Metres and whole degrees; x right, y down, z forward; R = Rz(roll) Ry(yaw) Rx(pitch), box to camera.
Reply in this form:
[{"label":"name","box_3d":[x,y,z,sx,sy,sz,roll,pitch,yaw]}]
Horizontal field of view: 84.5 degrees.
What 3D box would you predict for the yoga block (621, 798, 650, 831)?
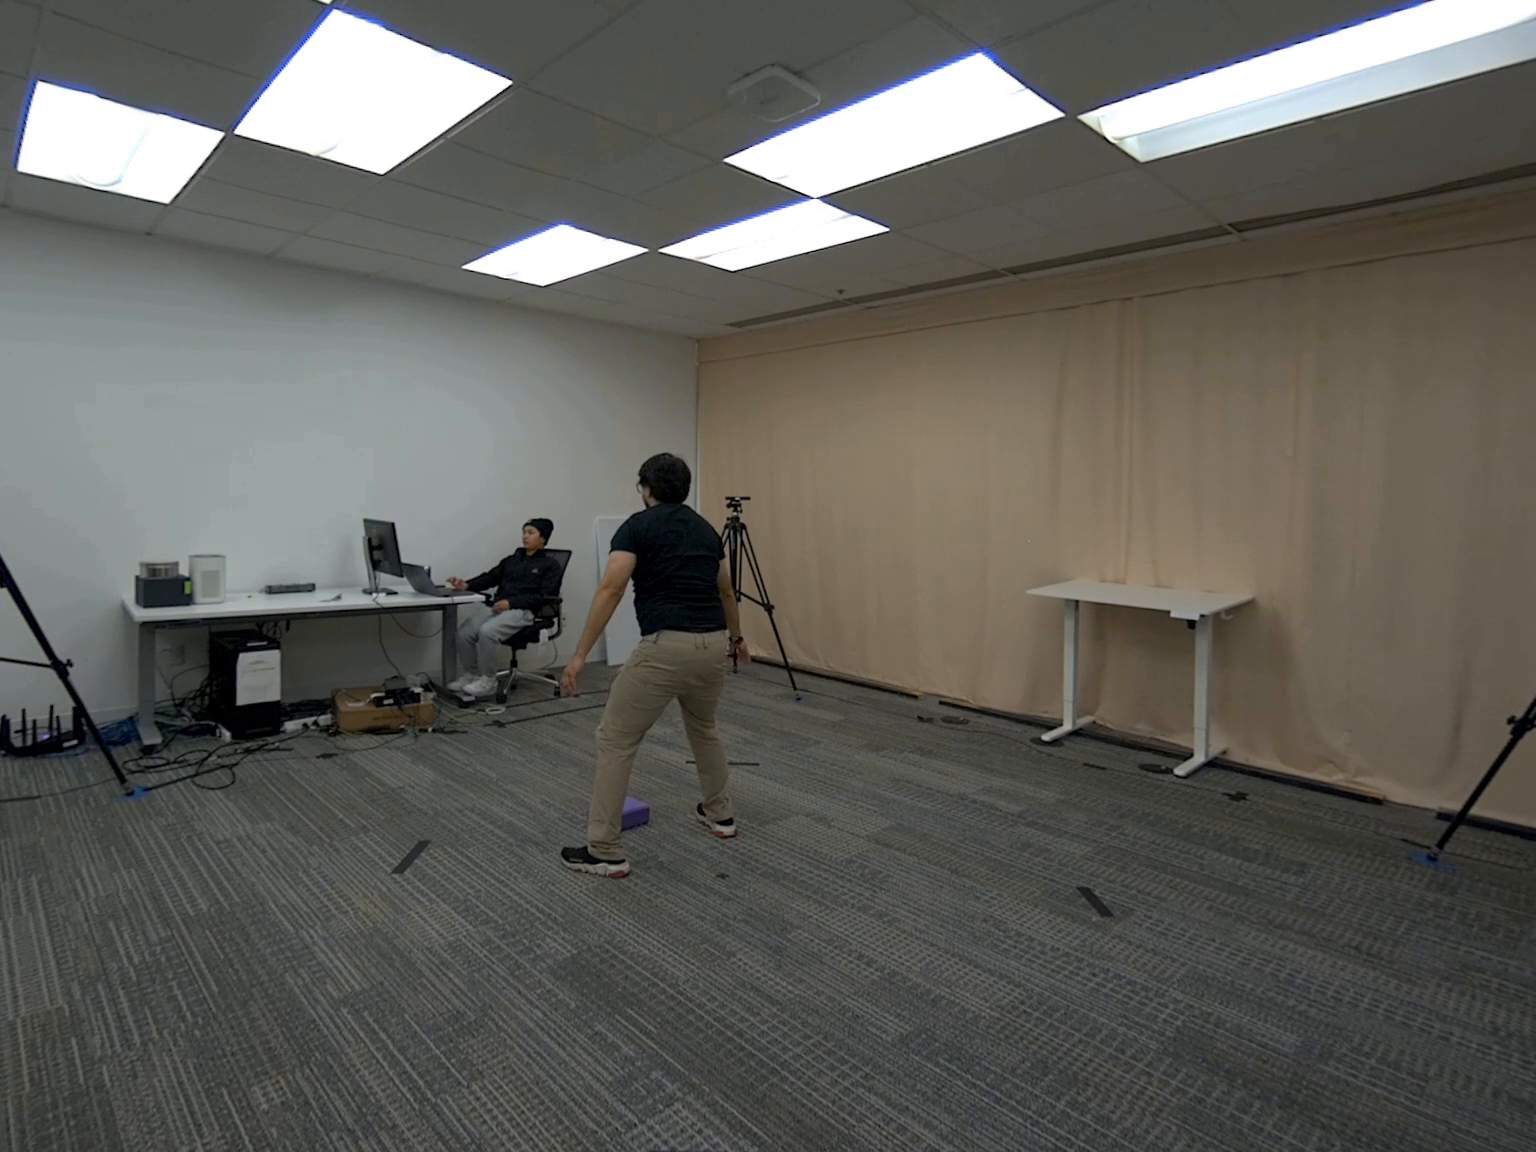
[{"label":"yoga block","box_3d":[-0.646,1.017,3.574,0.153,0.076,0.224,8,9,44]}]
